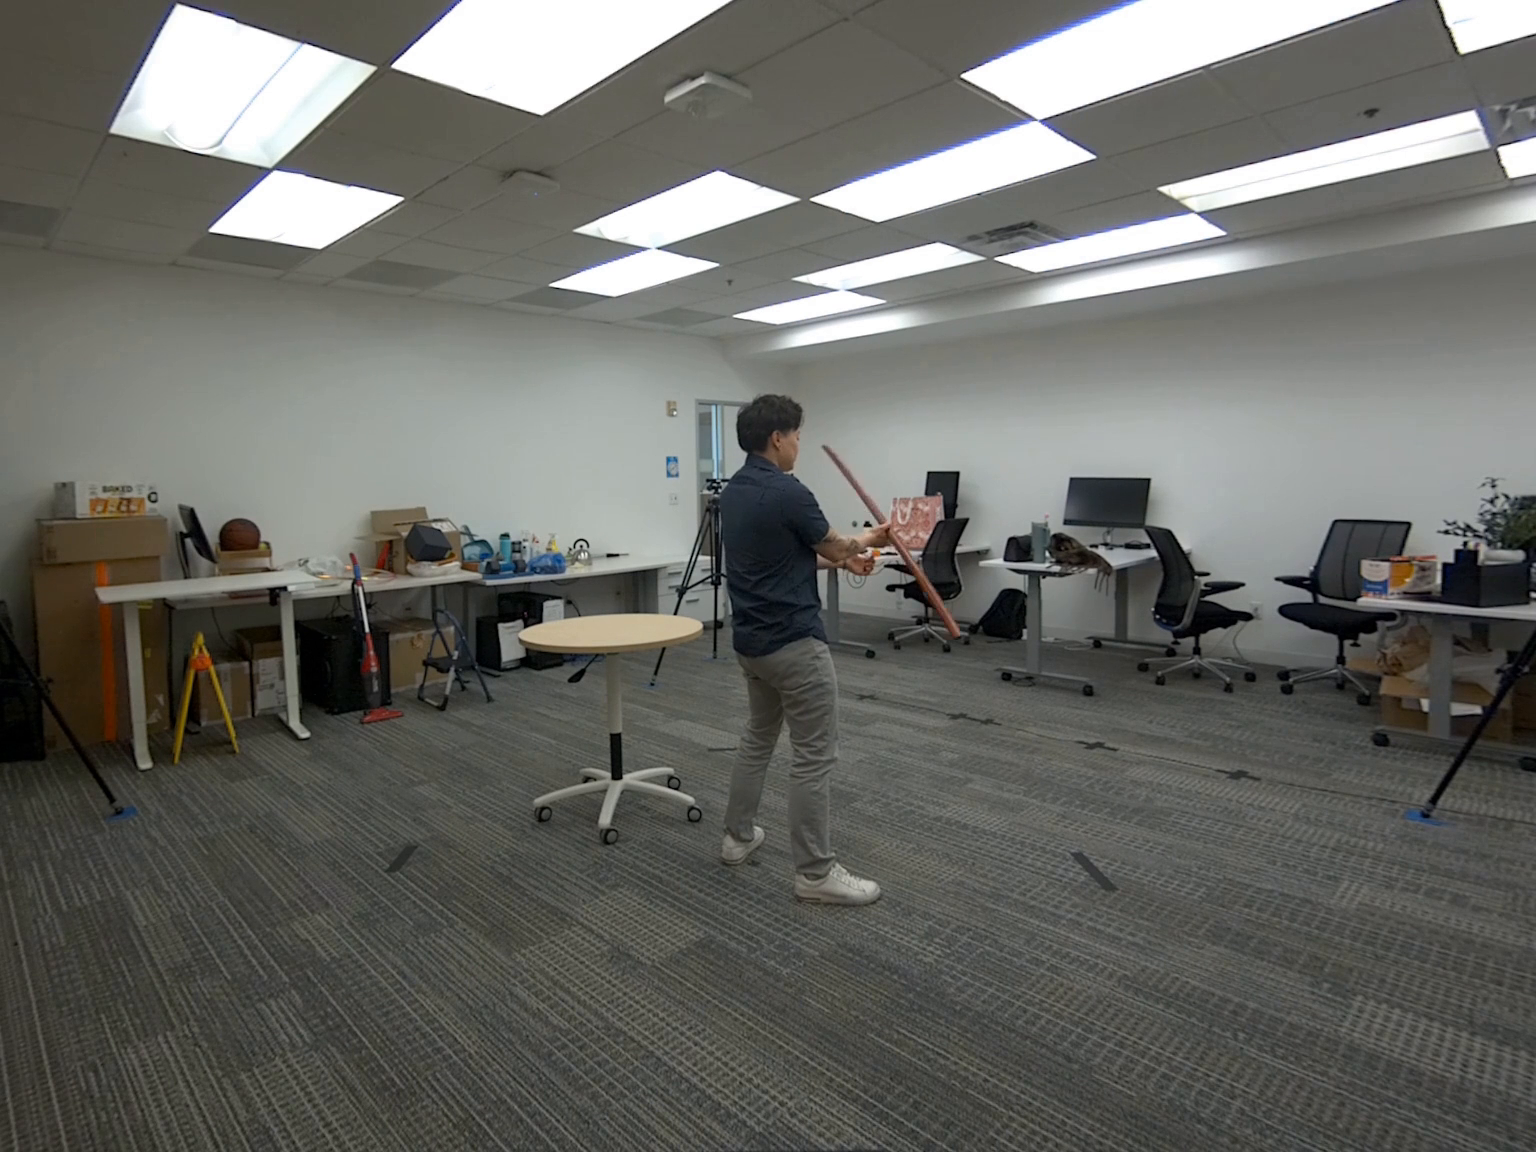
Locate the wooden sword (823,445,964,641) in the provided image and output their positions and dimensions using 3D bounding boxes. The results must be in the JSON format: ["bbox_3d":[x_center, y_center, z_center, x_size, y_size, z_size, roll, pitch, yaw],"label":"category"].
[{"bbox_3d":[0.446,-0.158,3.121,0.024,1.063,0.049,-36,-40,10],"label":"wooden sword"}]
